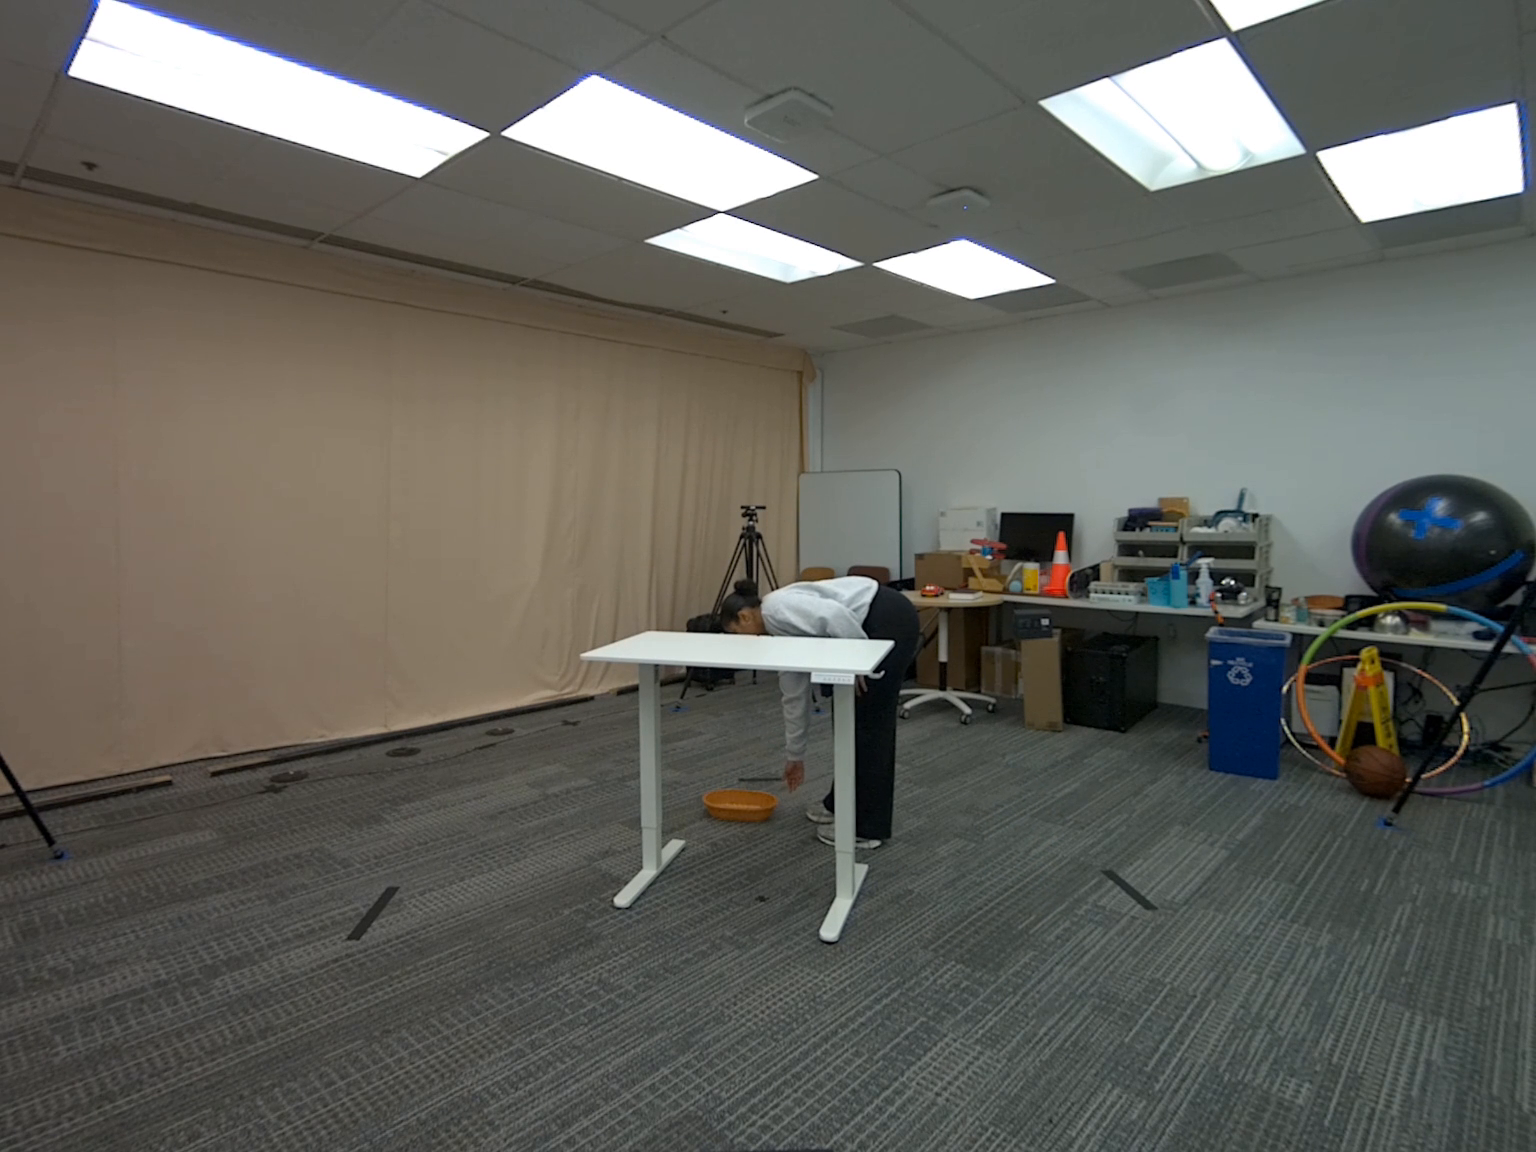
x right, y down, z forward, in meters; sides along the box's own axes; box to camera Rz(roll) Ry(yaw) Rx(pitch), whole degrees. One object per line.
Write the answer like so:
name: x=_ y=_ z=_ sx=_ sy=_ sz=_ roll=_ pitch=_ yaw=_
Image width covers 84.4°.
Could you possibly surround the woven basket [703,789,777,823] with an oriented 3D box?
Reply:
woven basket: x=-0.128 y=1.039 z=3.812 sx=0.356 sy=0.073 sz=0.249 roll=1 pitch=5 yaw=15
